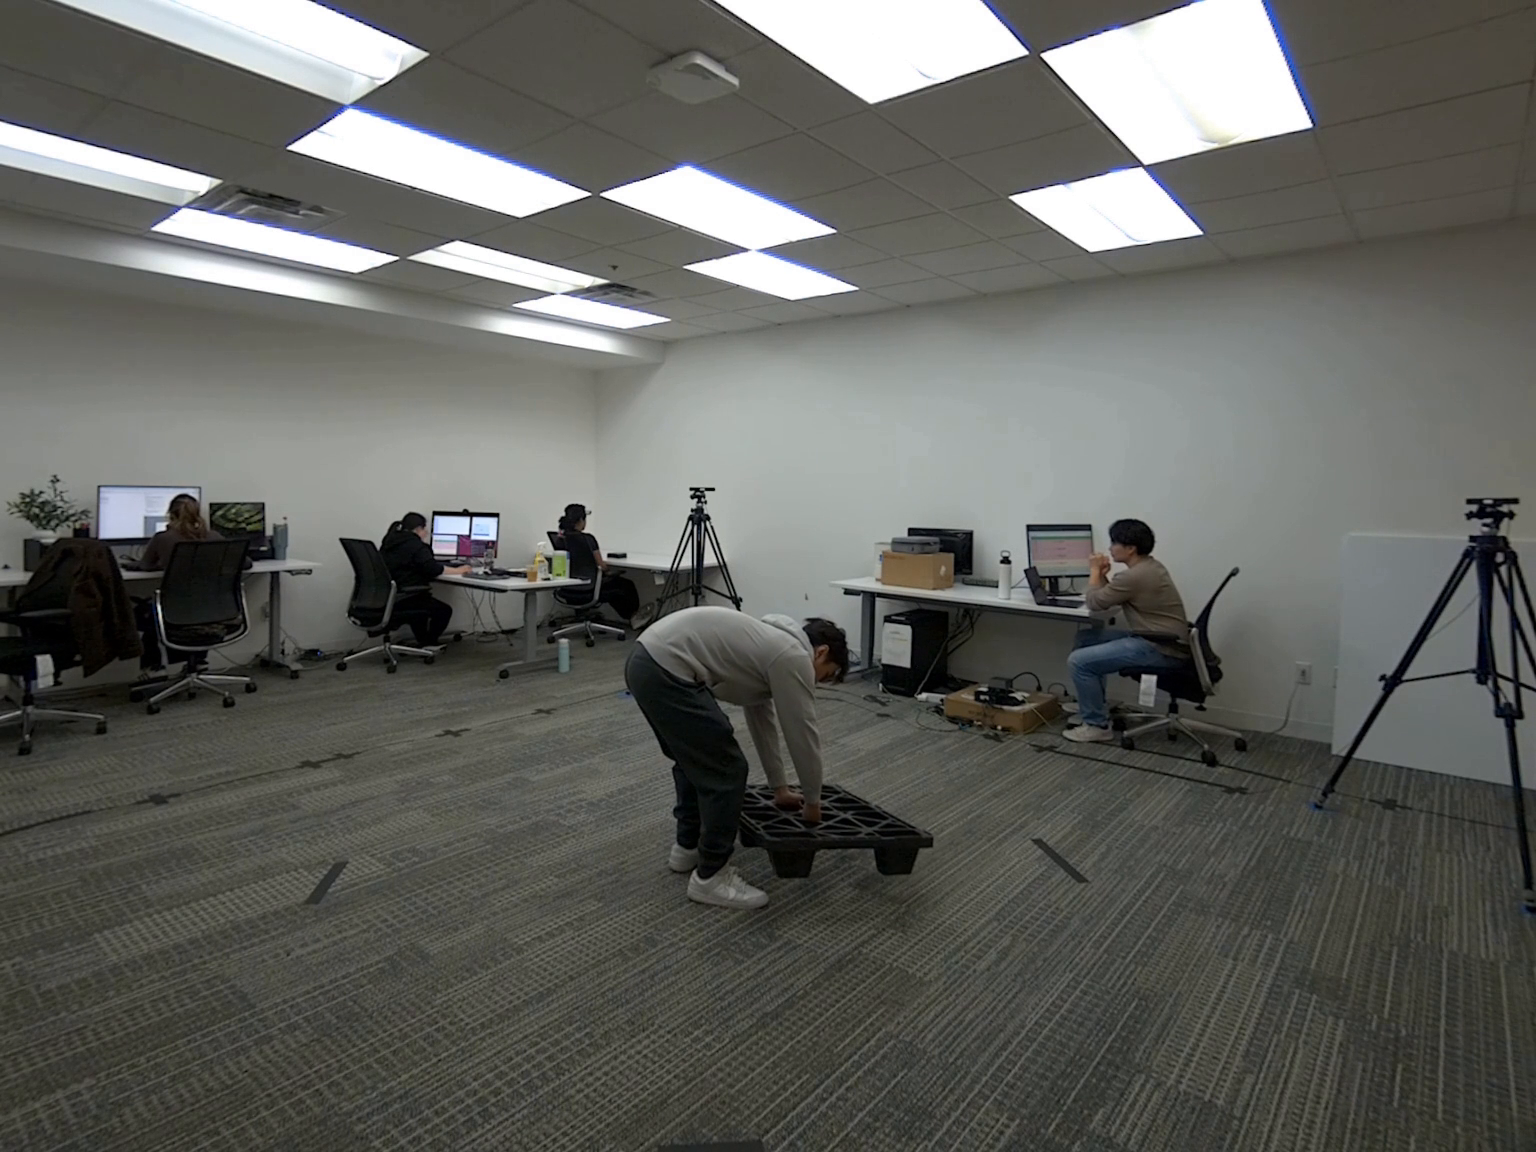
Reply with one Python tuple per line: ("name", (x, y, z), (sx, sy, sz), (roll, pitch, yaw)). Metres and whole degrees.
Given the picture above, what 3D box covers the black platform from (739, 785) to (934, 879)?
("black platform", (0.137, 0.912, 3.109), (0.594, 0.144, 0.818), (5, -2, -18))
